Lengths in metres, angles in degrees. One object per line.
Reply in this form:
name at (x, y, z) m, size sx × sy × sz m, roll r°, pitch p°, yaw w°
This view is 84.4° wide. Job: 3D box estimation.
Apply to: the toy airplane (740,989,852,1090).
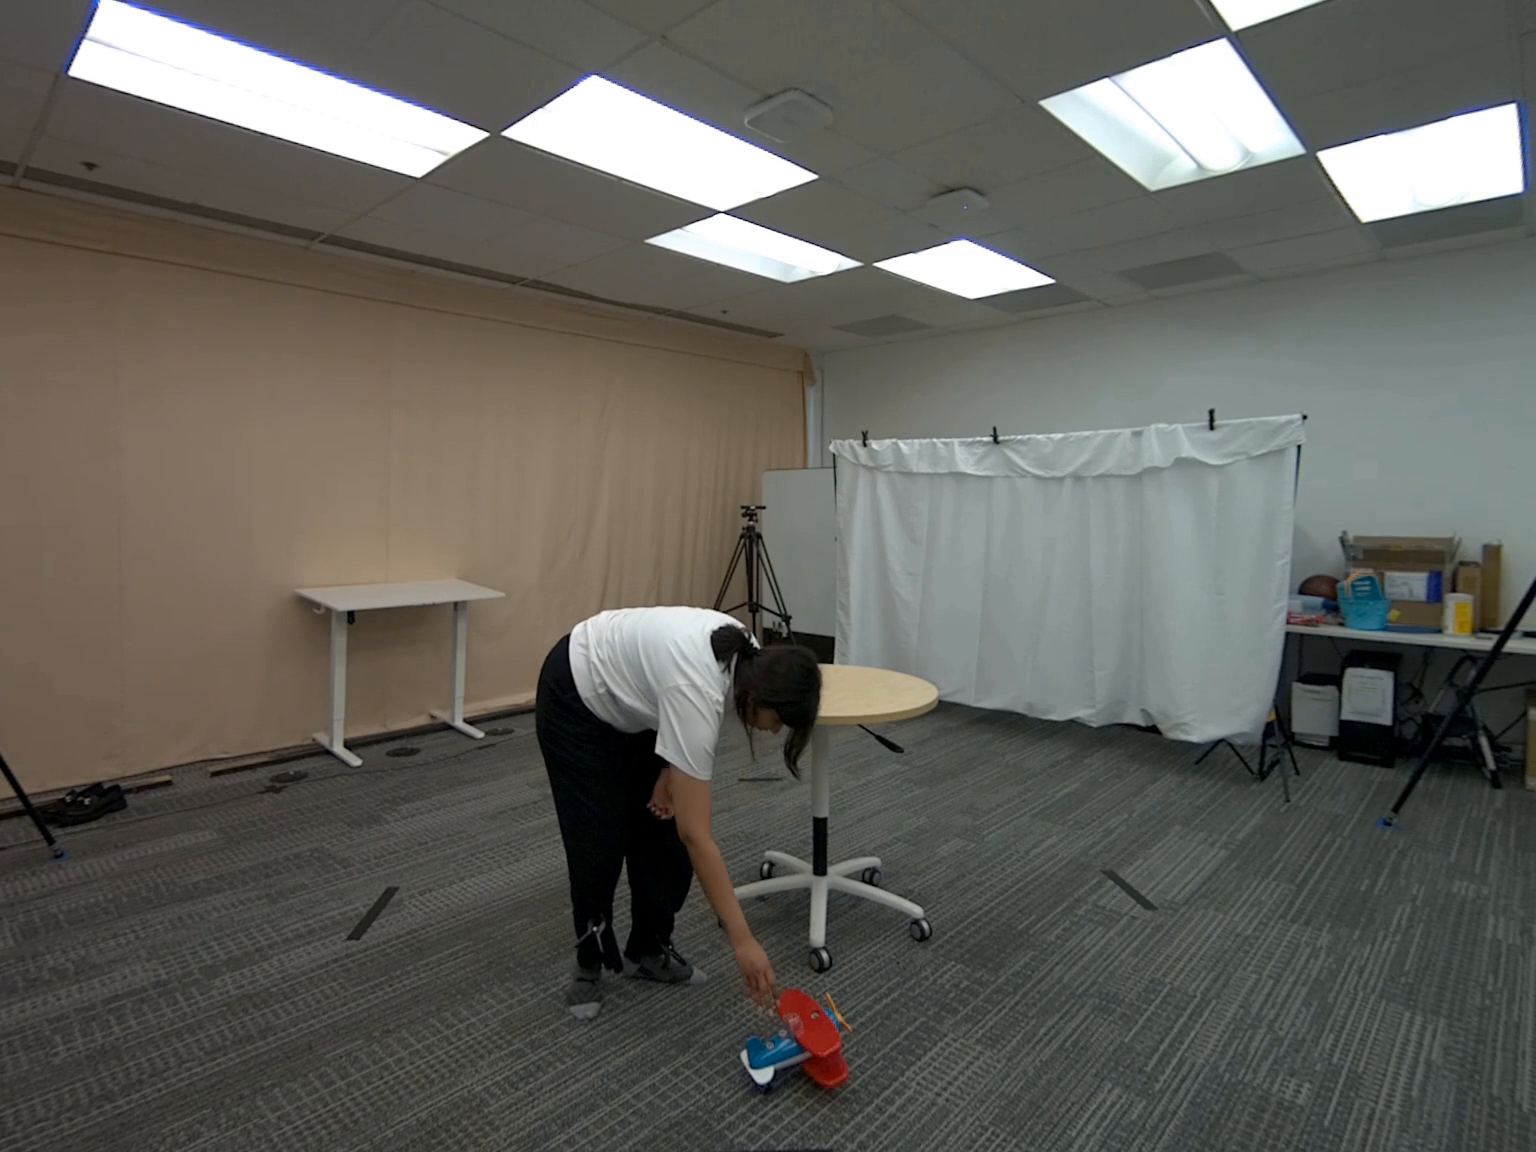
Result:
toy airplane at (0.085, 1.158, 2.020) m, size 0.259 × 0.156 × 0.251 m, roll 5°, pitch 7°, yaw 40°
